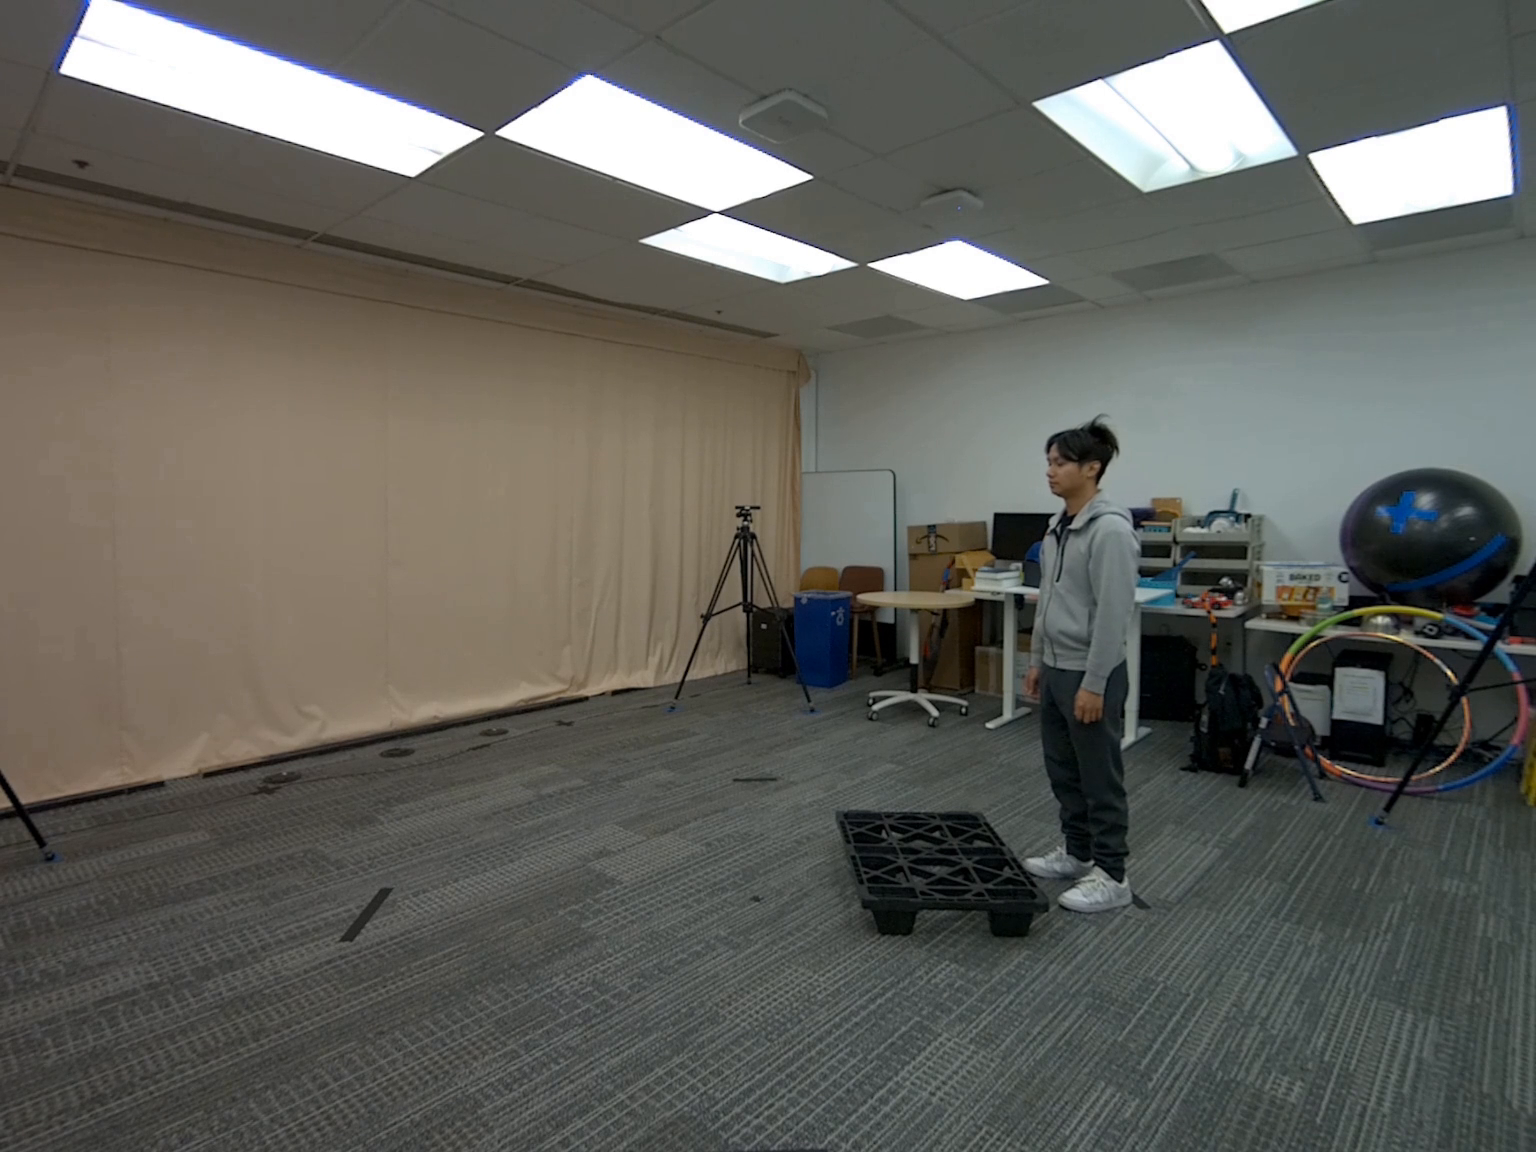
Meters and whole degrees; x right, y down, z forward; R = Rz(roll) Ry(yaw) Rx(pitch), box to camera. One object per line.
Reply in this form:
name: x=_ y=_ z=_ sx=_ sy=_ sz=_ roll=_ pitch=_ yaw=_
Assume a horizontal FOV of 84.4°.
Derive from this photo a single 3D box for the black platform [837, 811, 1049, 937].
black platform: x=0.589 y=1.064 z=3.076 sx=0.606 sy=0.143 sz=0.807 roll=-1 pitch=4 yaw=0
